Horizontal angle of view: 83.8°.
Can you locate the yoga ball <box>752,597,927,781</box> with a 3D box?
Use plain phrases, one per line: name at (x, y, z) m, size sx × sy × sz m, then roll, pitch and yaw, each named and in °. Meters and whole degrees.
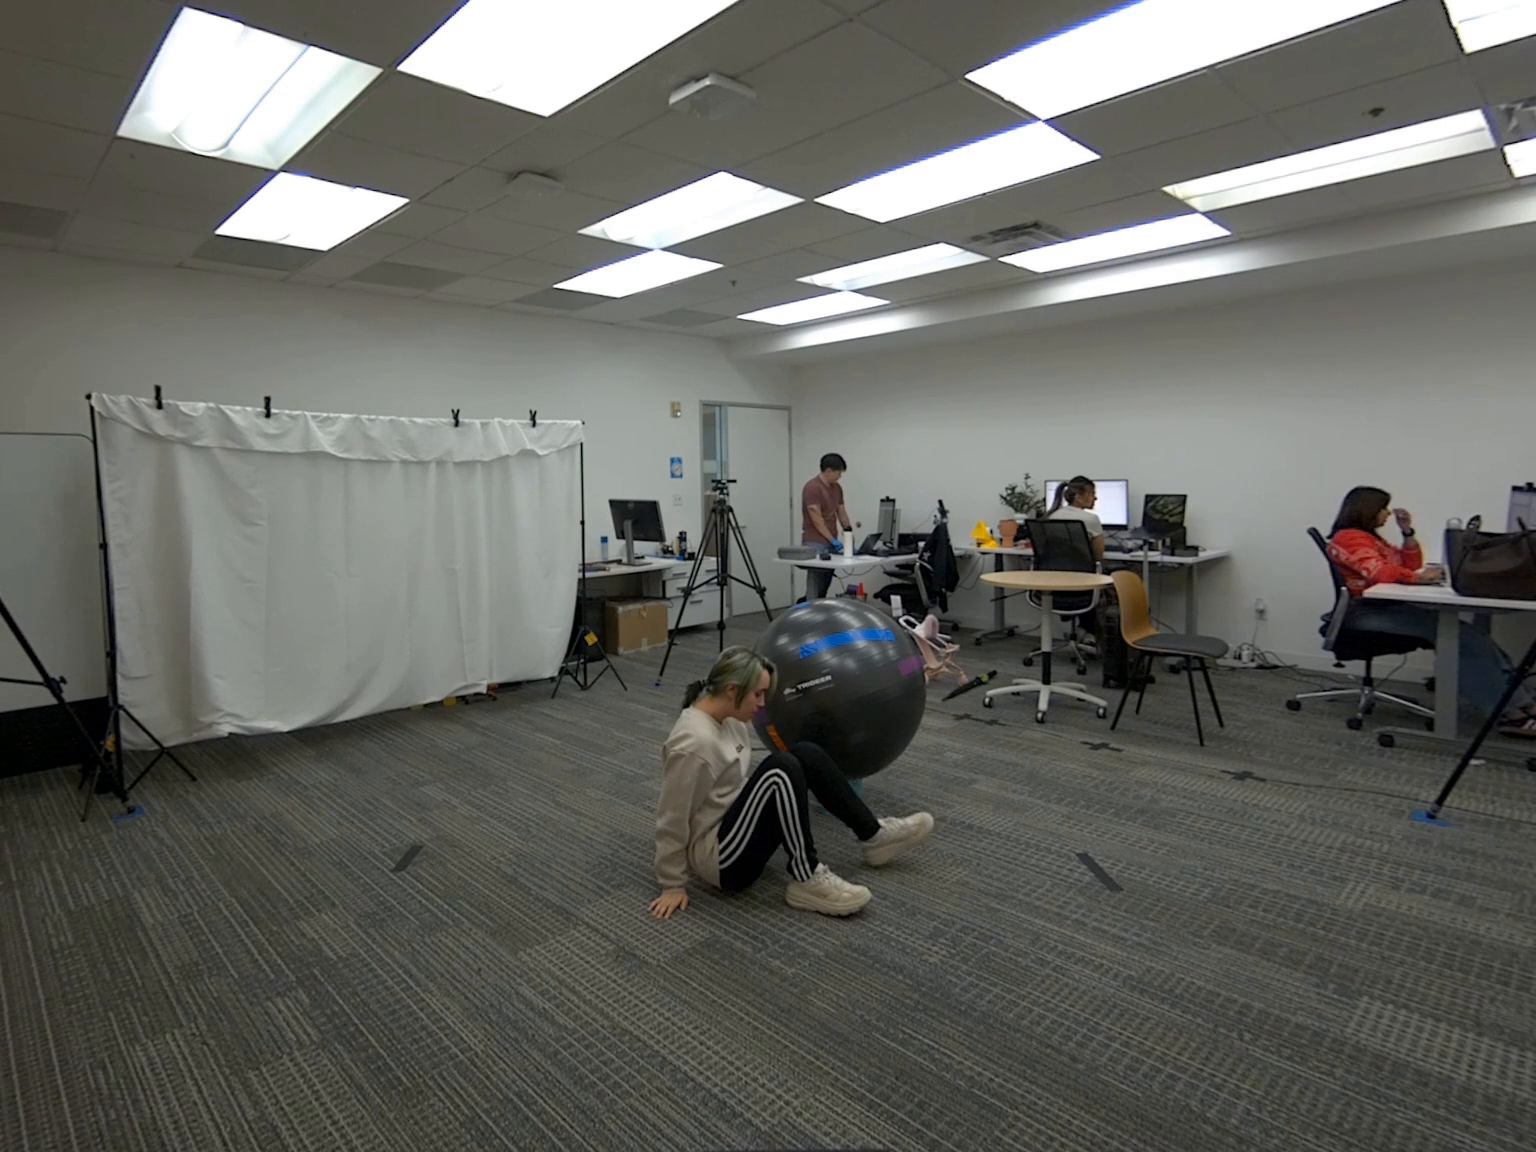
yoga ball at (0.283, 0.476, 3.611) m, size 0.757 × 0.755 × 0.762 m, roll -1°, pitch 5°, yaw -2°
